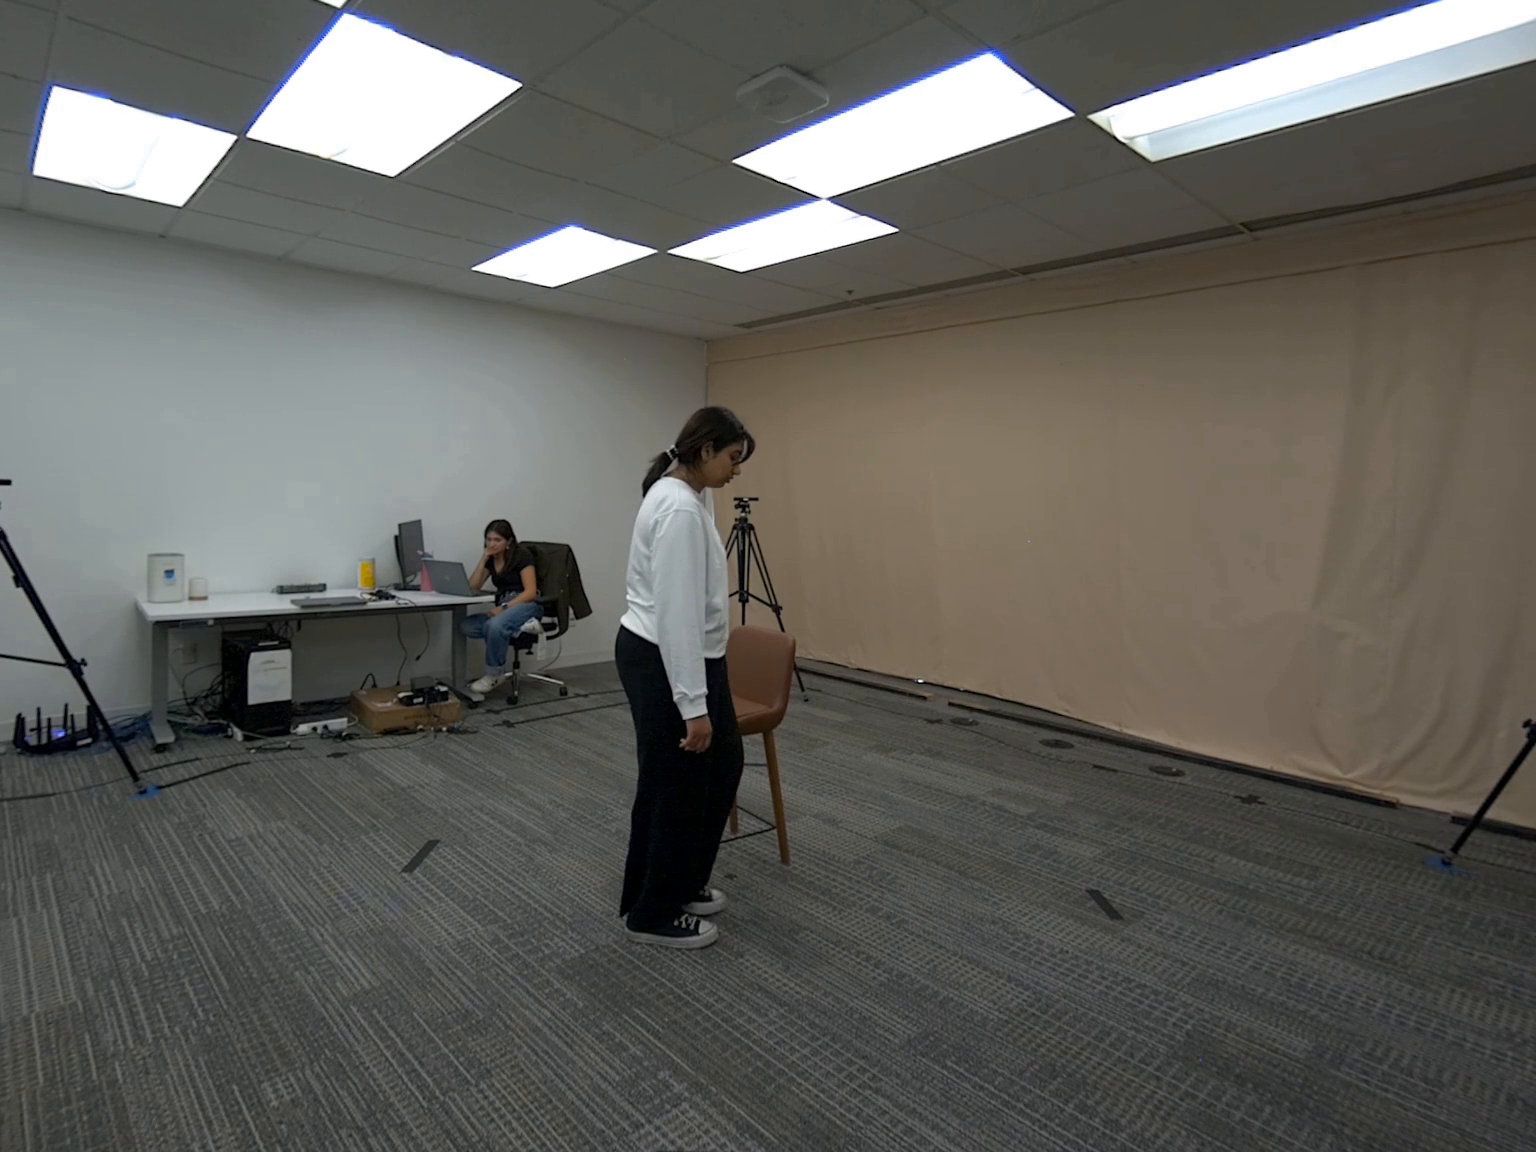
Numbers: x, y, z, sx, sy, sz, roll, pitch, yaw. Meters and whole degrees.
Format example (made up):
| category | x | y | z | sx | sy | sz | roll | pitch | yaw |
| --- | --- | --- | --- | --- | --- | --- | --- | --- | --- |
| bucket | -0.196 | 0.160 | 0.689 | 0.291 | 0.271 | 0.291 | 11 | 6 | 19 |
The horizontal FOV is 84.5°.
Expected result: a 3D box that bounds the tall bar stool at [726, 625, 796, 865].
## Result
| category | x | y | z | sx | sy | sz | roll | pitch | yaw |
| --- | --- | --- | --- | --- | --- | --- | --- | --- | --- |
| tall bar stool | -0.195 | 0.662 | 3.236 | 0.457 | 0.888 | 0.468 | 1 | 3 | -36 |
